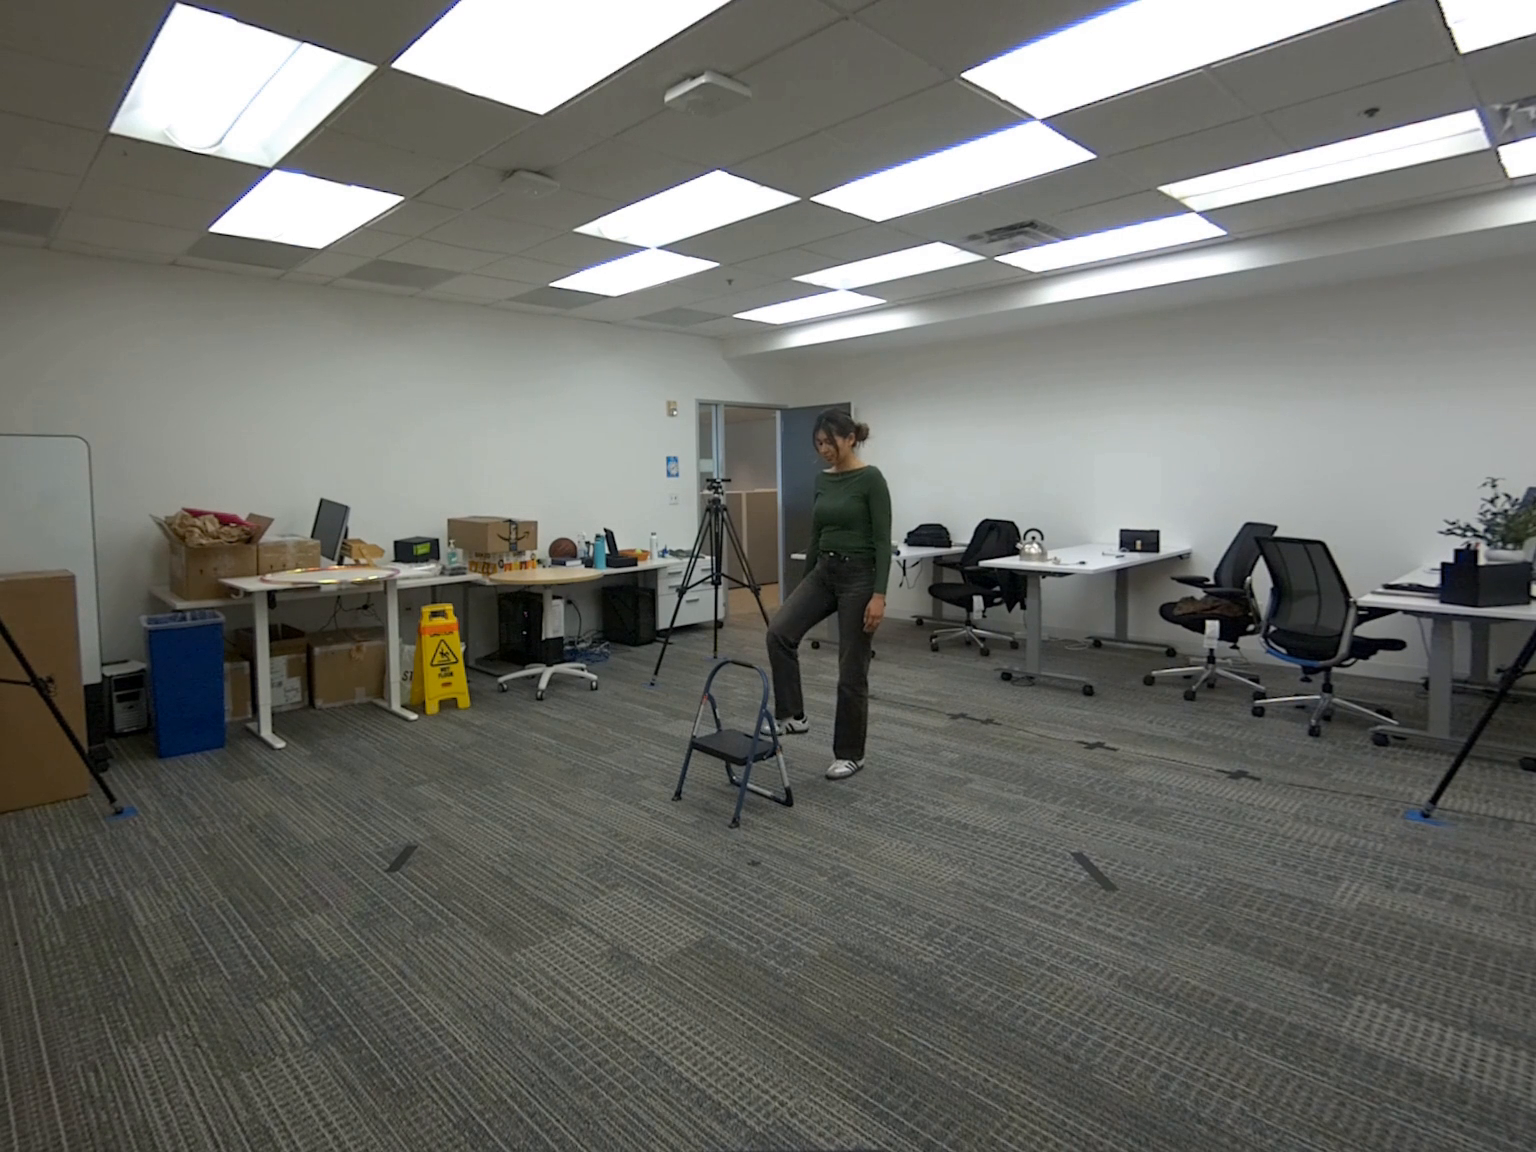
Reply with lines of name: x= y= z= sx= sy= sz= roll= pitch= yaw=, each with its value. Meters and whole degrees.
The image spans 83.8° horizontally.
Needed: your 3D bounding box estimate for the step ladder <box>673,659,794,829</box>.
step ladder: x=-0.156 y=0.679 z=3.672 sx=0.340 sy=0.604 sz=0.444 roll=-4 pitch=5 yaw=-41
